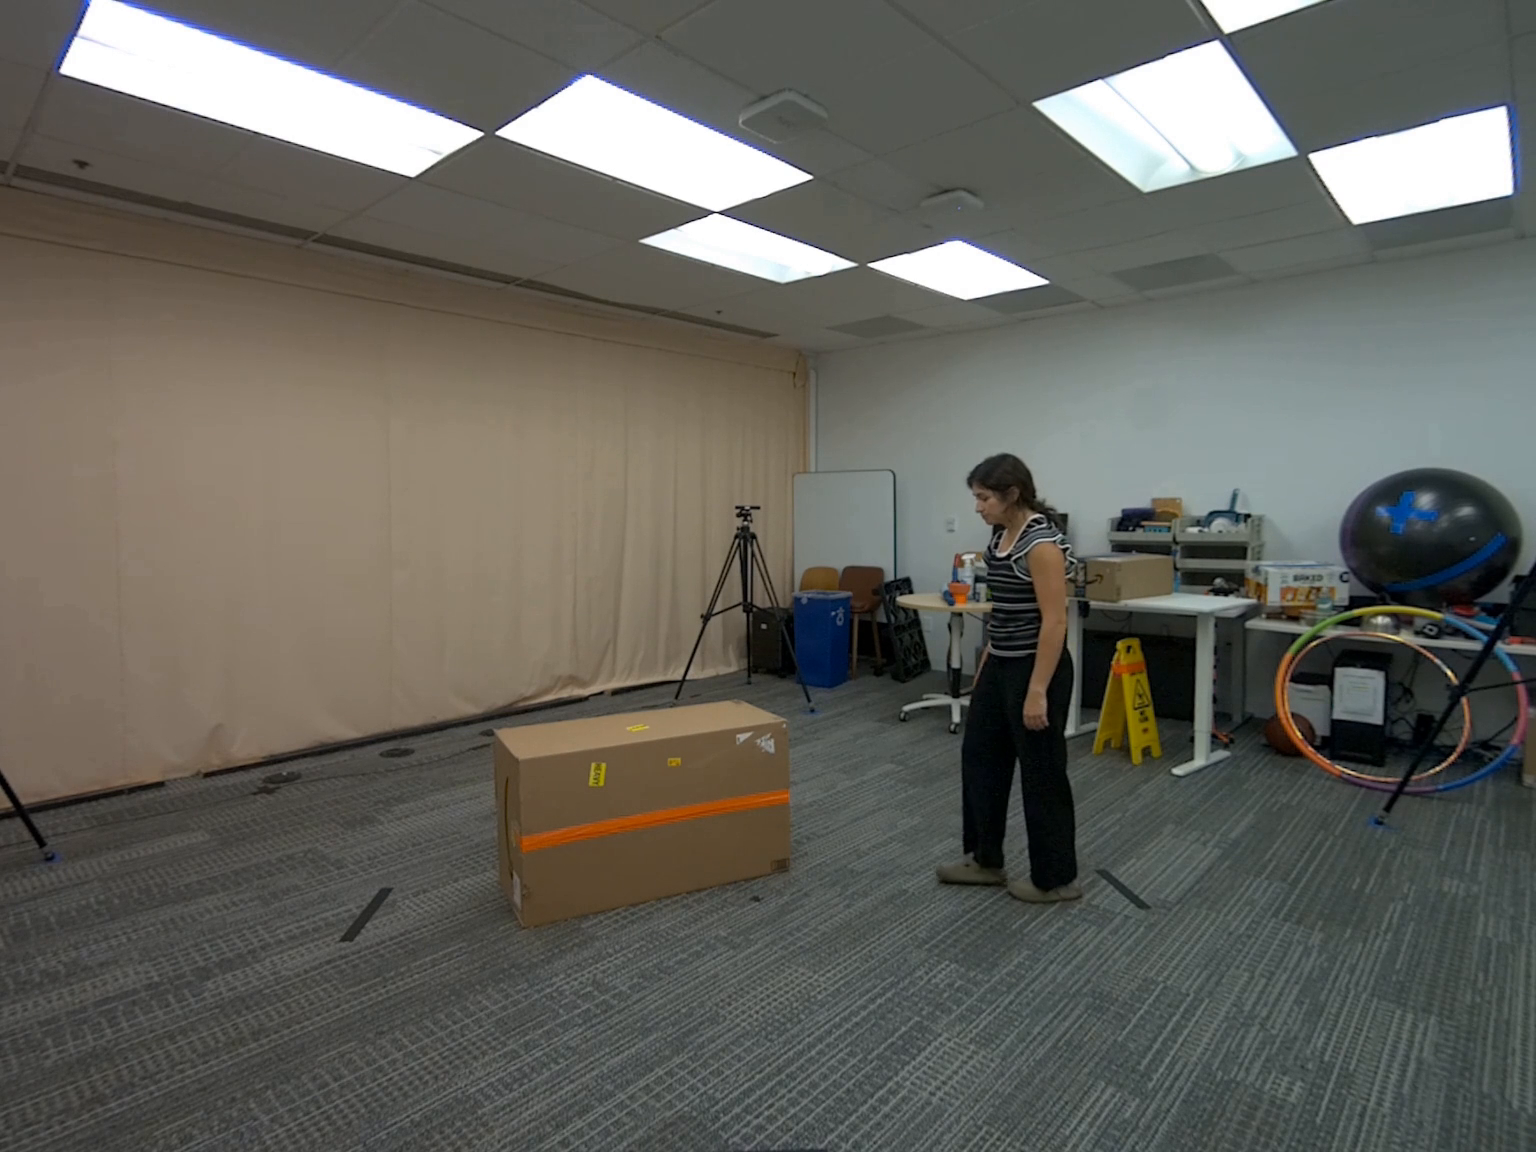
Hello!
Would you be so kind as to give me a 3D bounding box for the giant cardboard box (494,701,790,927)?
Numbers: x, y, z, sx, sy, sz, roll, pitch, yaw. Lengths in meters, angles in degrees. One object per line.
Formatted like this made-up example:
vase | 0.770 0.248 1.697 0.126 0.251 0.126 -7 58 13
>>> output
giant cardboard box | -0.466 0.847 3.172 1.002 0.576 0.437 -3 3 -25
